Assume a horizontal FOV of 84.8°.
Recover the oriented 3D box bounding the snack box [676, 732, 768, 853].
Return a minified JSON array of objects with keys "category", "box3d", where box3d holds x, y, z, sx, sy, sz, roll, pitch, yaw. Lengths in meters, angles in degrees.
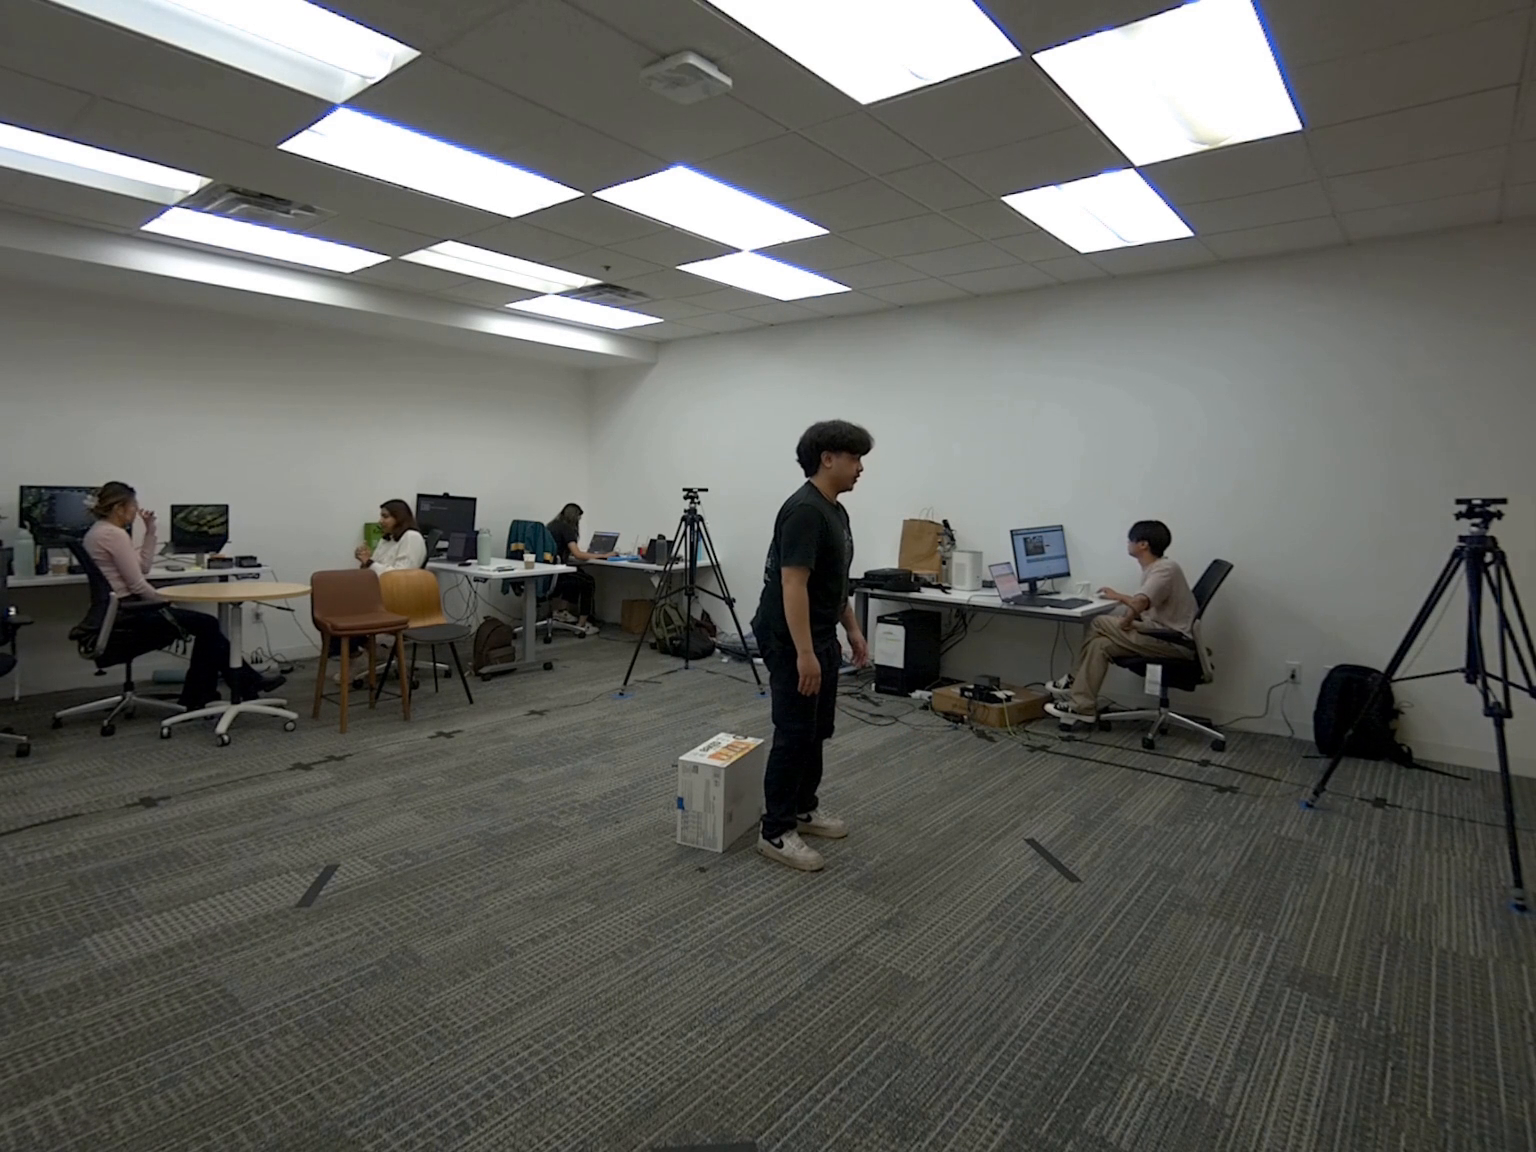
[{"category":"snack box","box3d":[-0.195,0.864,3.460,0.211,0.339,0.397,3,5,23]}]
